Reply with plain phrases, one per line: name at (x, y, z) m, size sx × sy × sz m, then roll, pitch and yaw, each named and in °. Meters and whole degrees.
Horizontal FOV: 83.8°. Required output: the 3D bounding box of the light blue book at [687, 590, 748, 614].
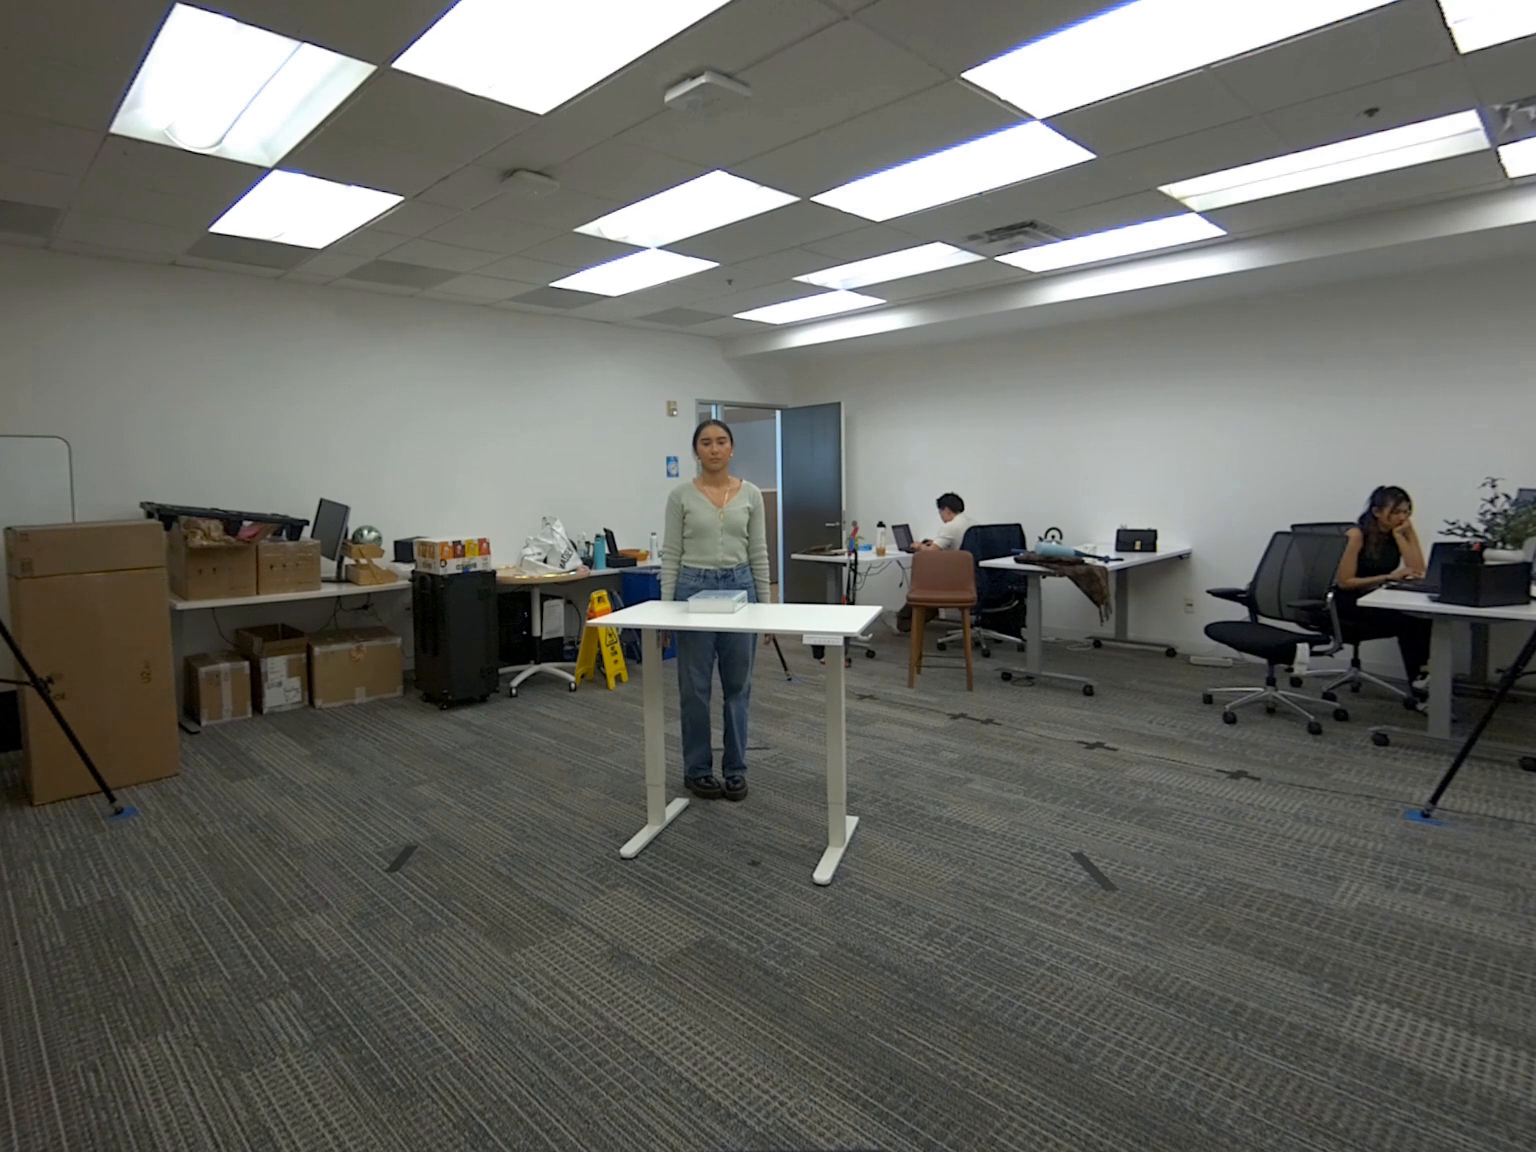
light blue book at (-0.211, 0.105, 3.421) m, size 0.193 × 0.059 × 0.259 m, roll -1°, pitch 6°, yaw 11°
